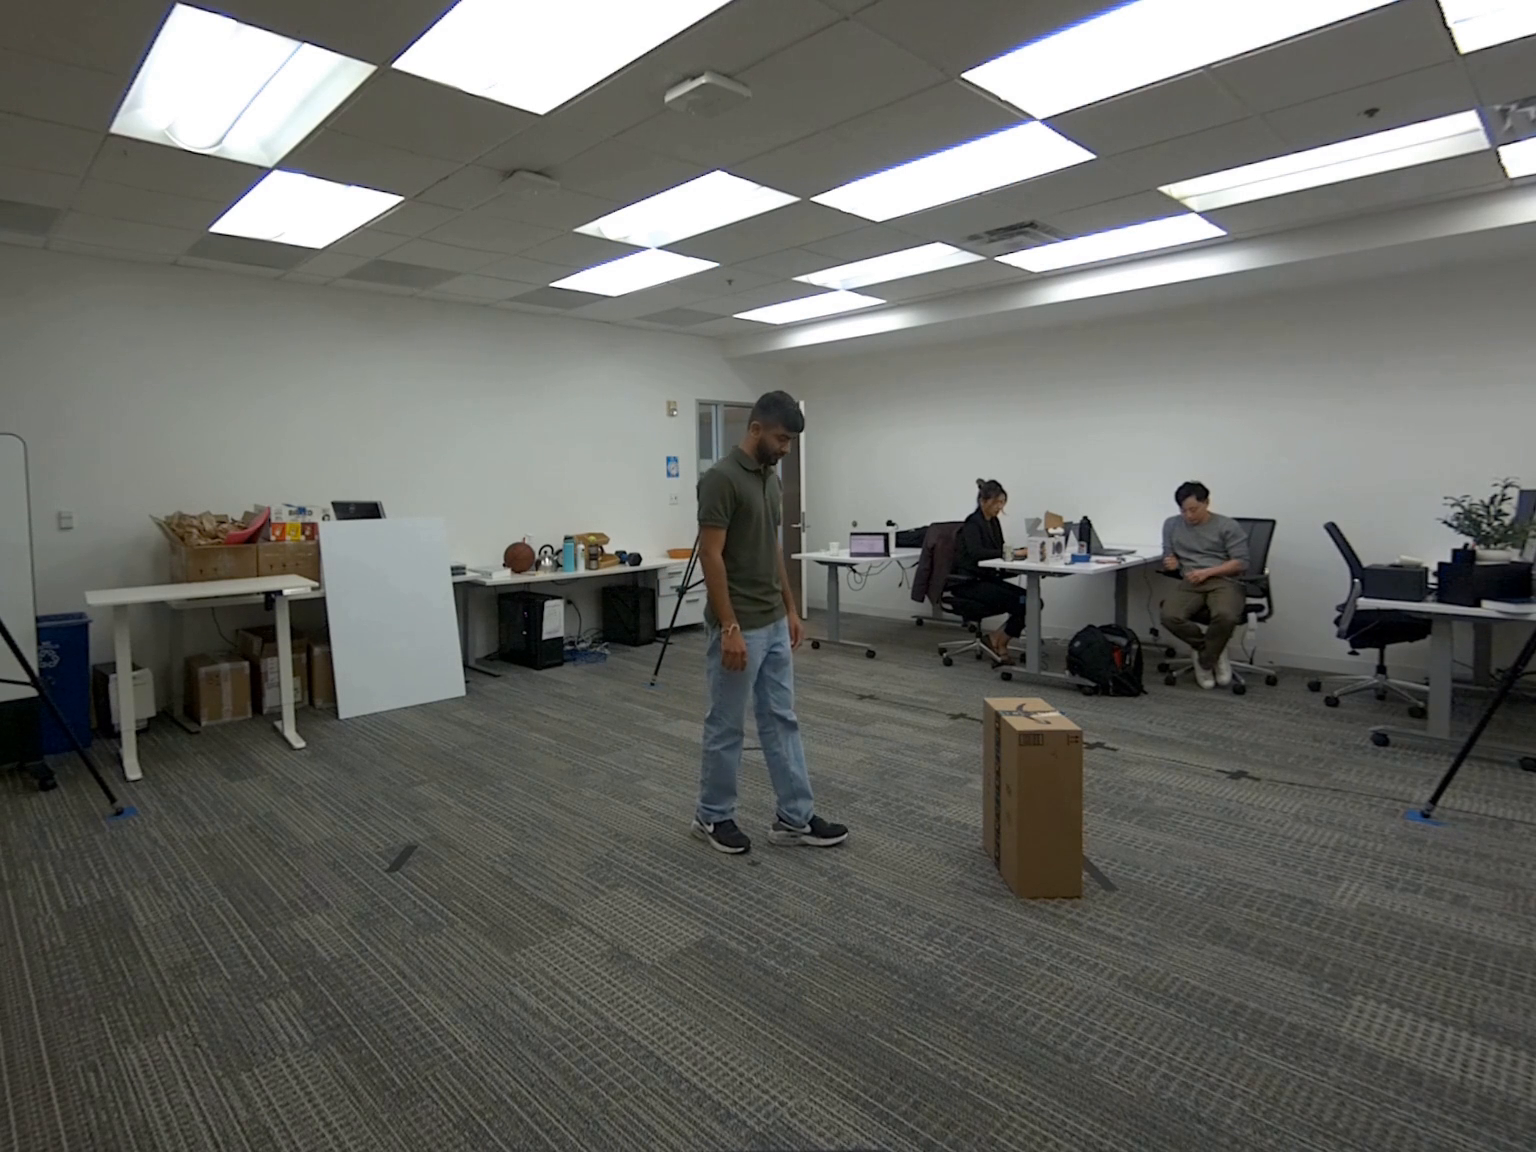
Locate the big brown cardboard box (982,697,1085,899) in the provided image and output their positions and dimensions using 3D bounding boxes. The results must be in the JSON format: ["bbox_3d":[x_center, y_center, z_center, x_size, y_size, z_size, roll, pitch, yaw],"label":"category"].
[{"bbox_3d":[0.920,0.760,2.992,0.233,0.586,0.419,-2,5,0],"label":"big brown cardboard box"}]
